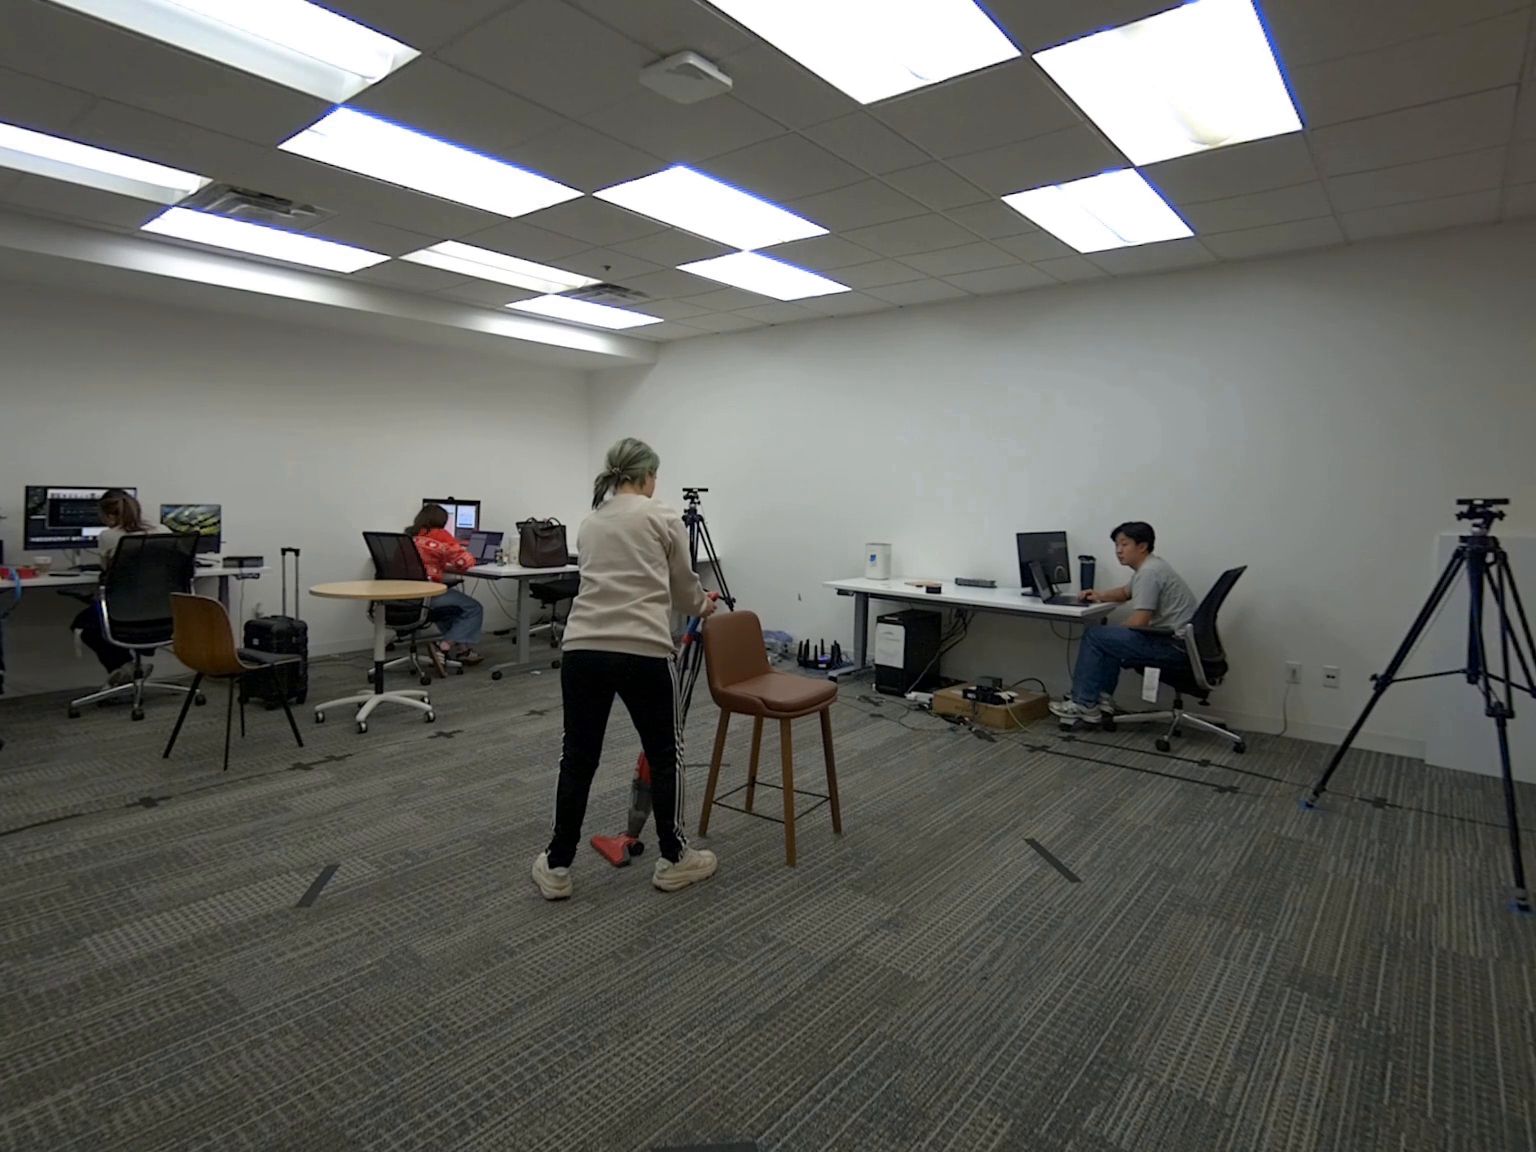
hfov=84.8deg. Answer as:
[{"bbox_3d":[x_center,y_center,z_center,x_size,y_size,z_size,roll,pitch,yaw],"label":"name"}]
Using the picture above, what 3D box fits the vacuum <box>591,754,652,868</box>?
[{"bbox_3d":[-0.409,0.560,3.340,0.138,1.055,0.261,27,-13,-39],"label":"vacuum"}]
